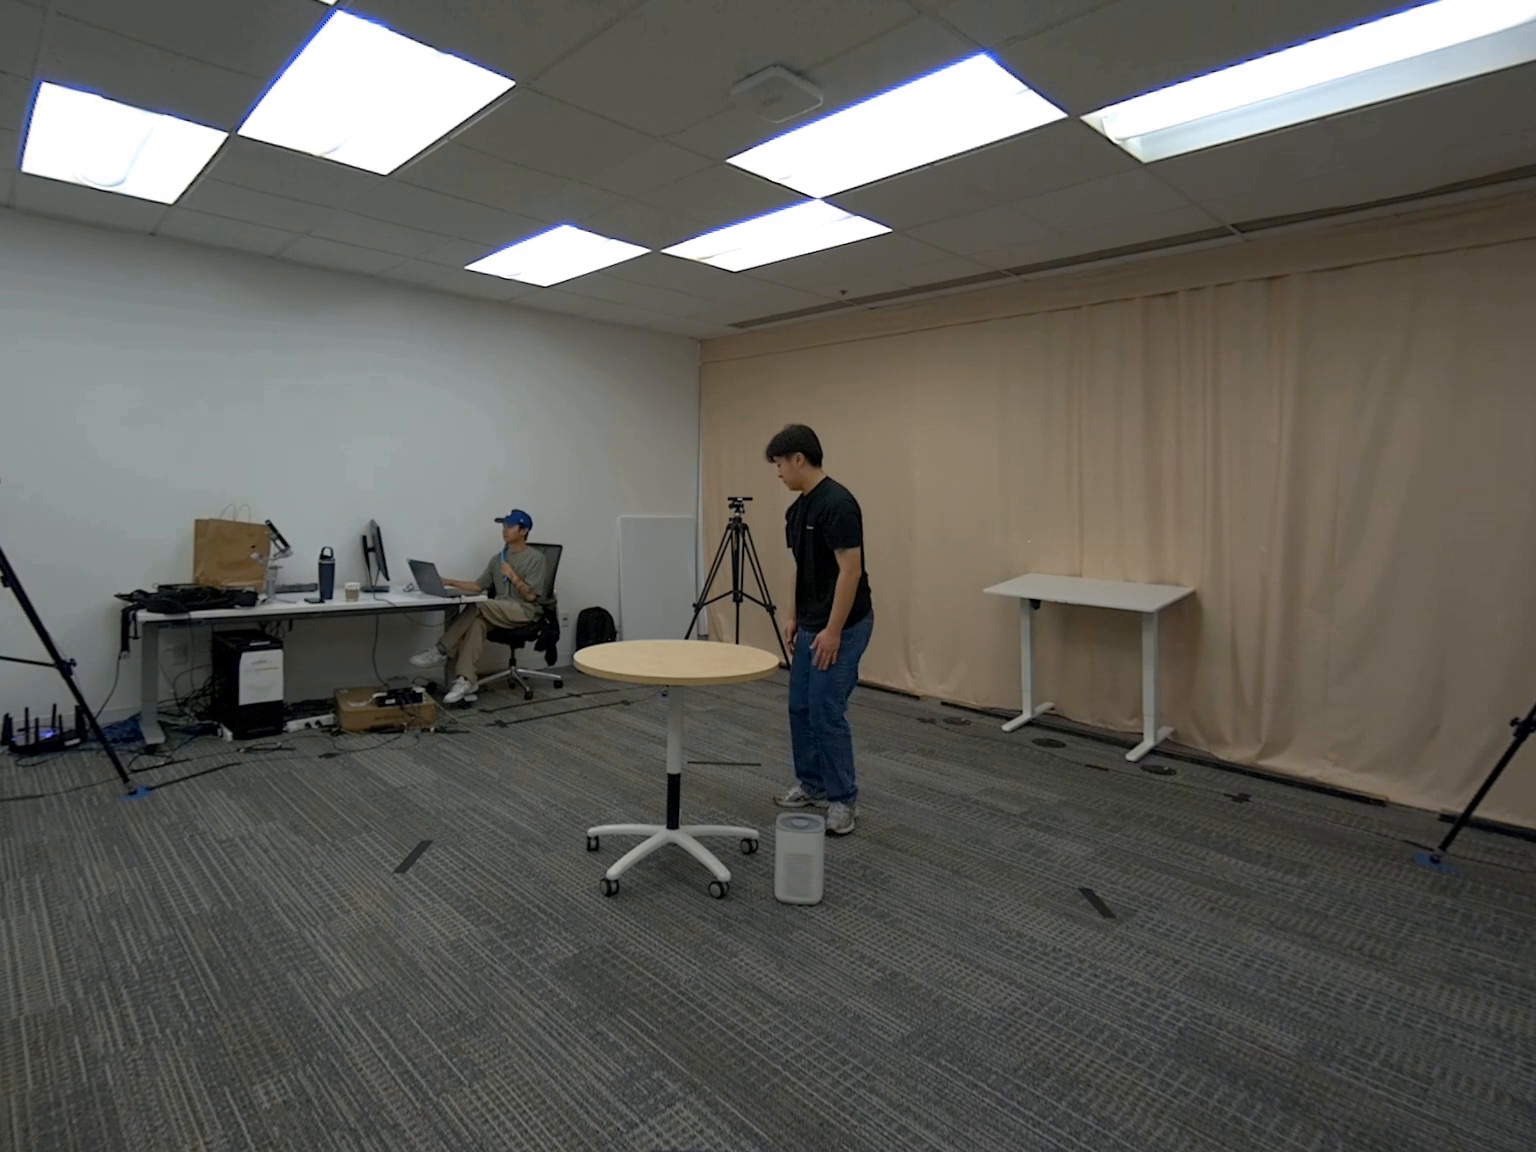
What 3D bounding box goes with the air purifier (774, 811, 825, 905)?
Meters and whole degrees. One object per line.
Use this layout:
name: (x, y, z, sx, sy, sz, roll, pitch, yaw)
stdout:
air purifier: (0.105, 0.992, 2.953, 0.173, 0.264, 0.170, 2, 4, 7)
